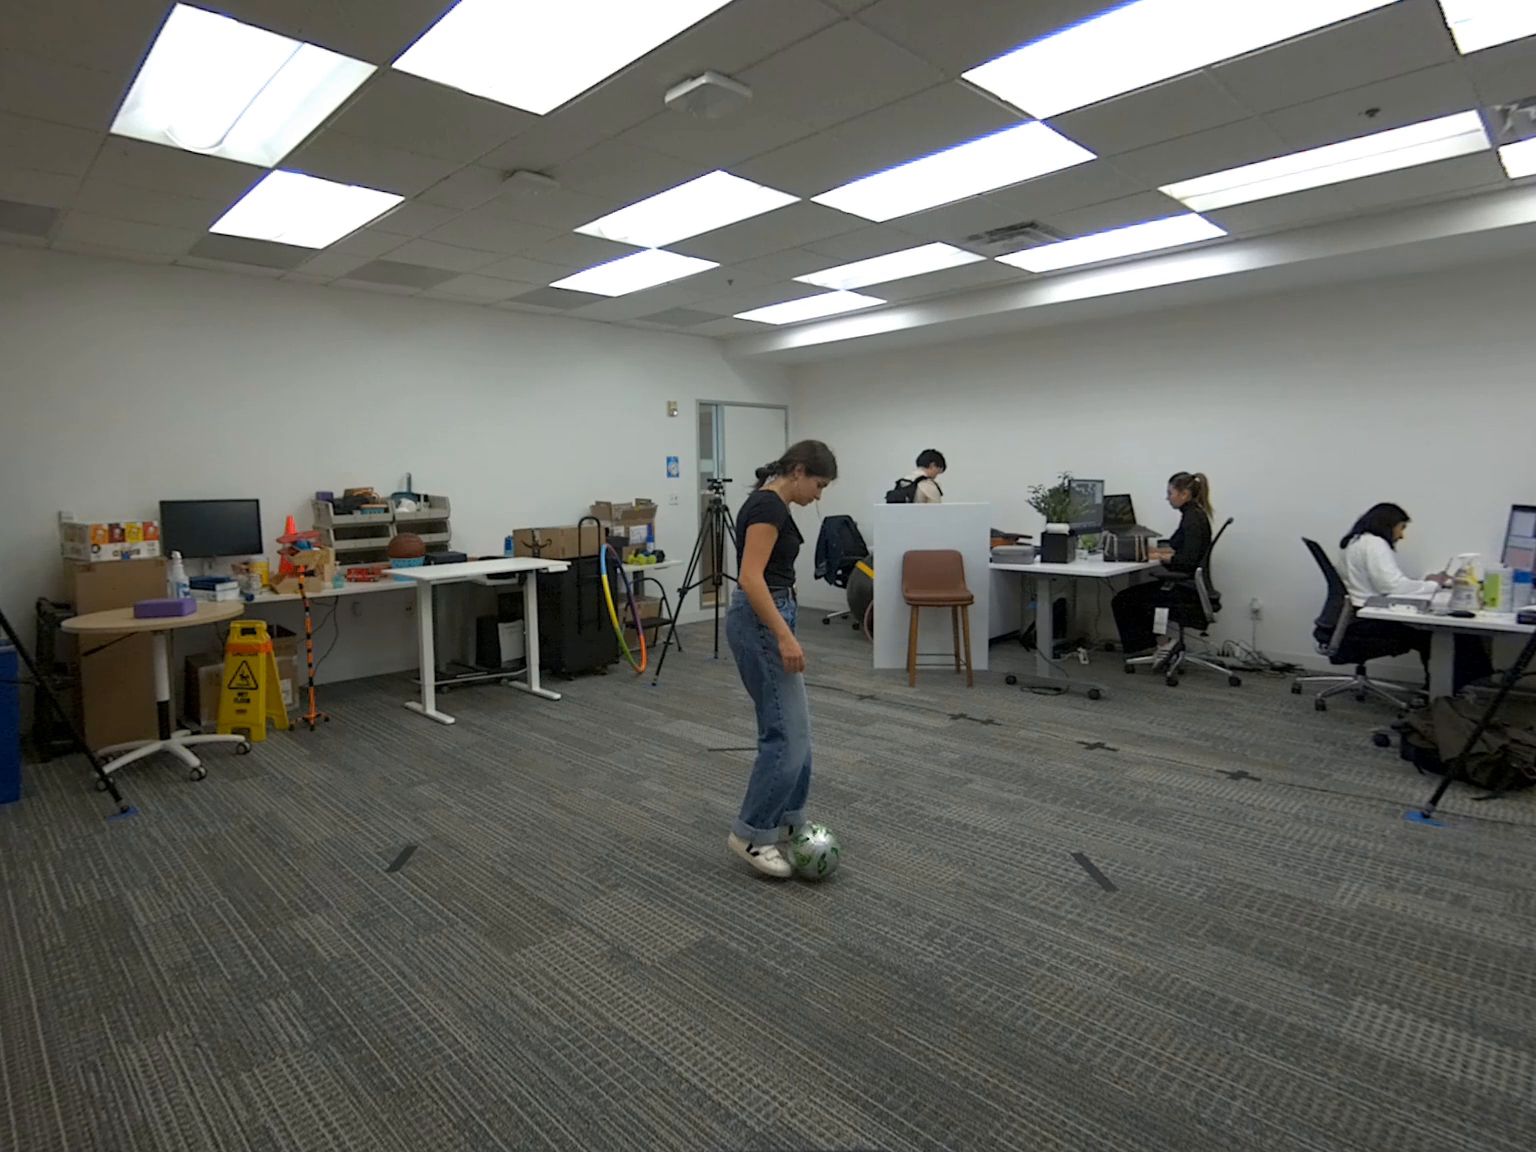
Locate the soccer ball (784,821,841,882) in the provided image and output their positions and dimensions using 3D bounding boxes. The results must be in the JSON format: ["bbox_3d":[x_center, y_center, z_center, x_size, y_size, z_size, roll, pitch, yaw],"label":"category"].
[{"bbox_3d":[0.157,0.957,2.979,0.187,0.187,0.188,-1,5,-2],"label":"soccer ball"}]
